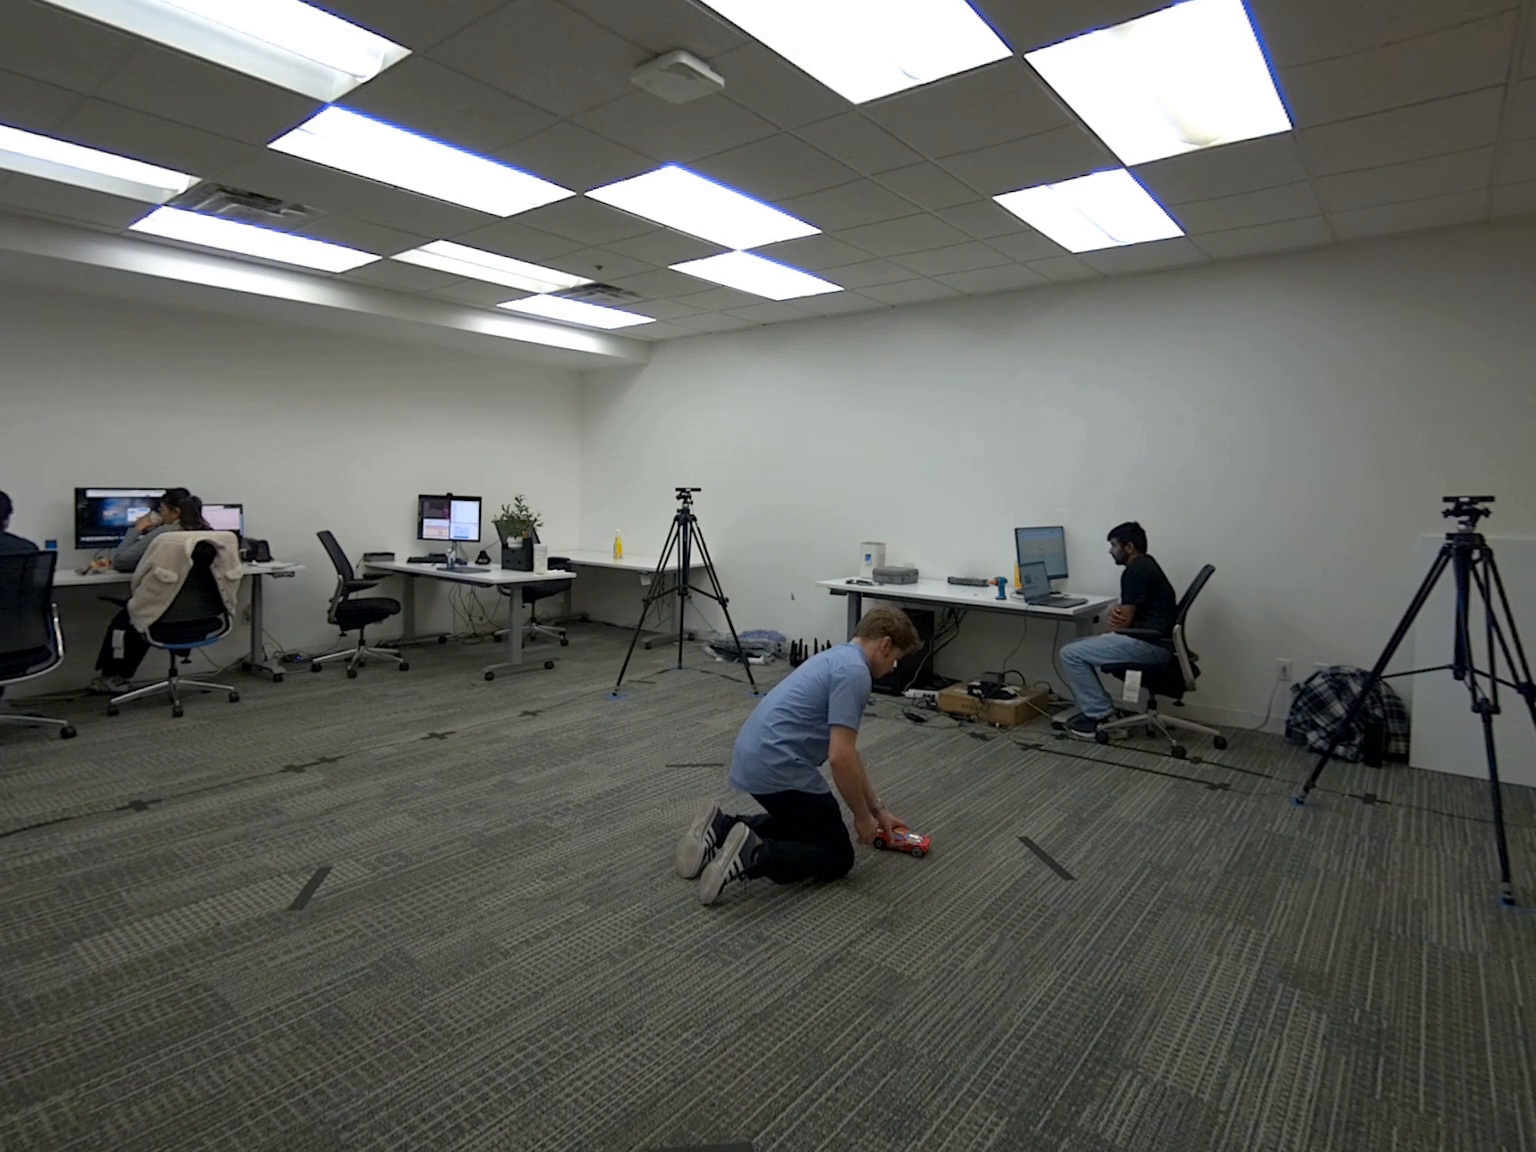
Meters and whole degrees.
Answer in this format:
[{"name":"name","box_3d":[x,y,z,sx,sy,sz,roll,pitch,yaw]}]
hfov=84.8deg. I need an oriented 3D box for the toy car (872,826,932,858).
[{"name":"toy car","box_3d":[0.497,1.035,3.338,0.262,0.083,0.127,14,7,24]}]
